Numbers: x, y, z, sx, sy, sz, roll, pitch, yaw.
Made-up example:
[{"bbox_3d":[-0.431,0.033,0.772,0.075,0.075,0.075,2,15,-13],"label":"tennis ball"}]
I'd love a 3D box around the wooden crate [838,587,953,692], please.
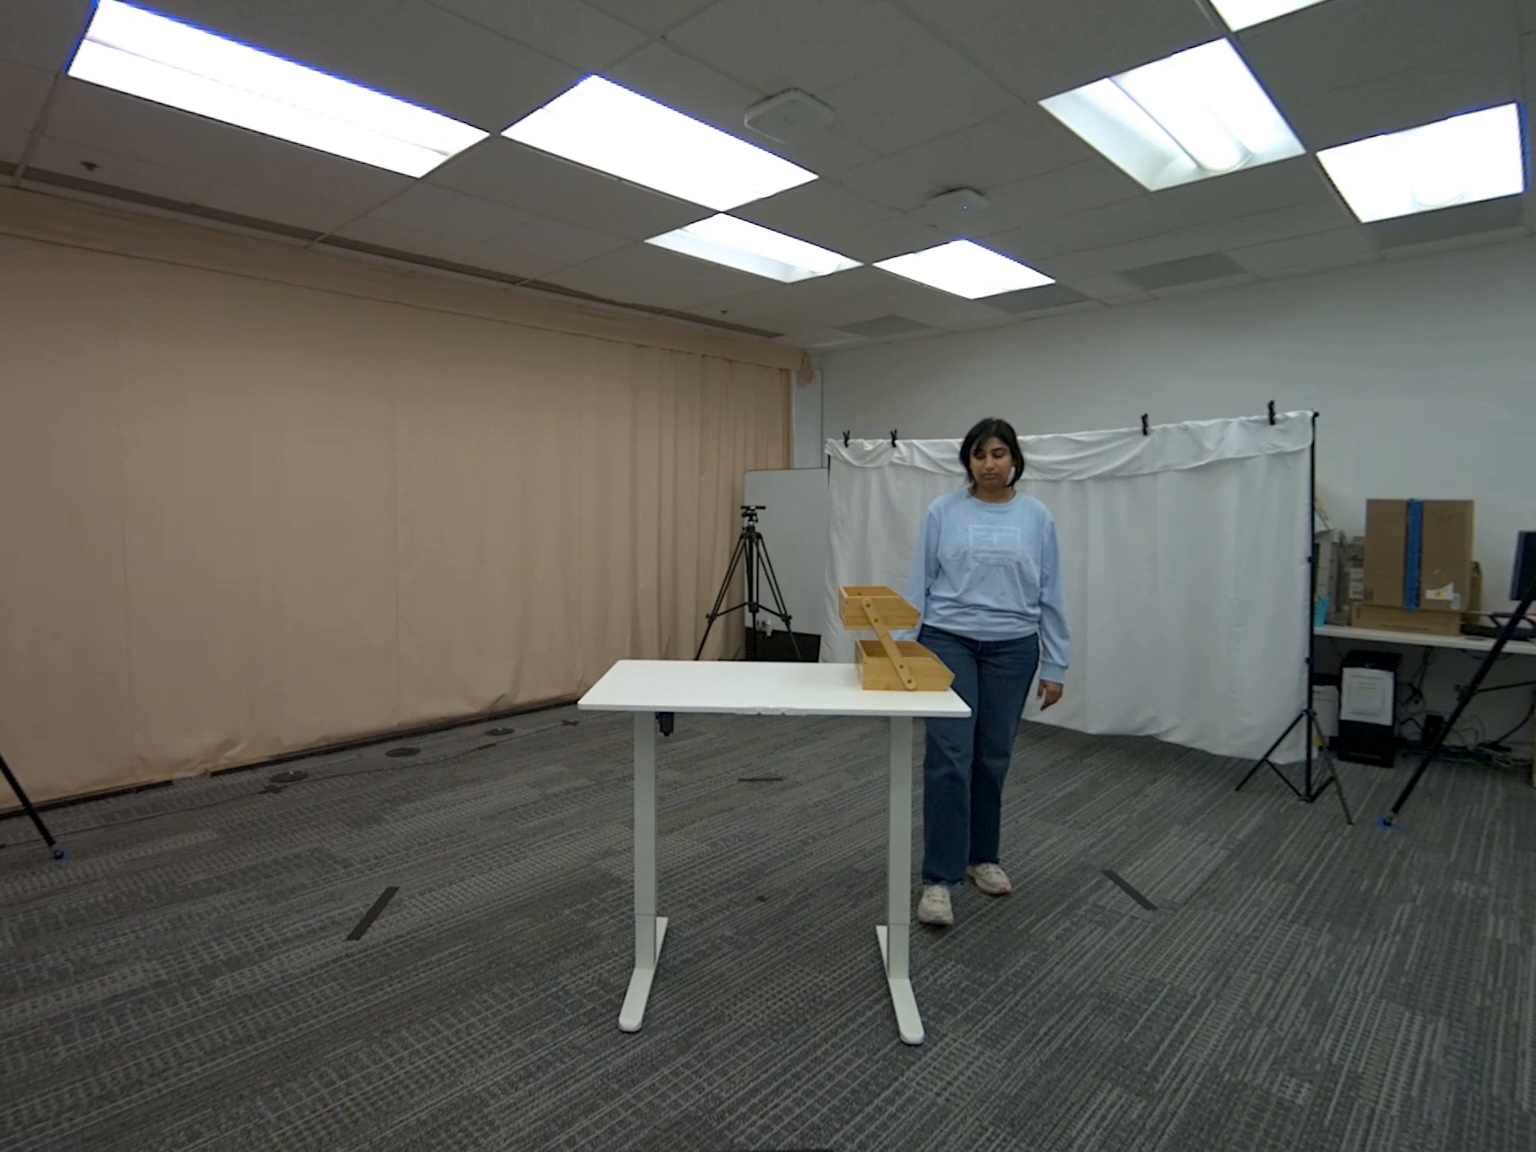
[{"bbox_3d":[0.383,0.176,2.461,0.303,0.272,0.324,0,5,3],"label":"wooden crate"}]
